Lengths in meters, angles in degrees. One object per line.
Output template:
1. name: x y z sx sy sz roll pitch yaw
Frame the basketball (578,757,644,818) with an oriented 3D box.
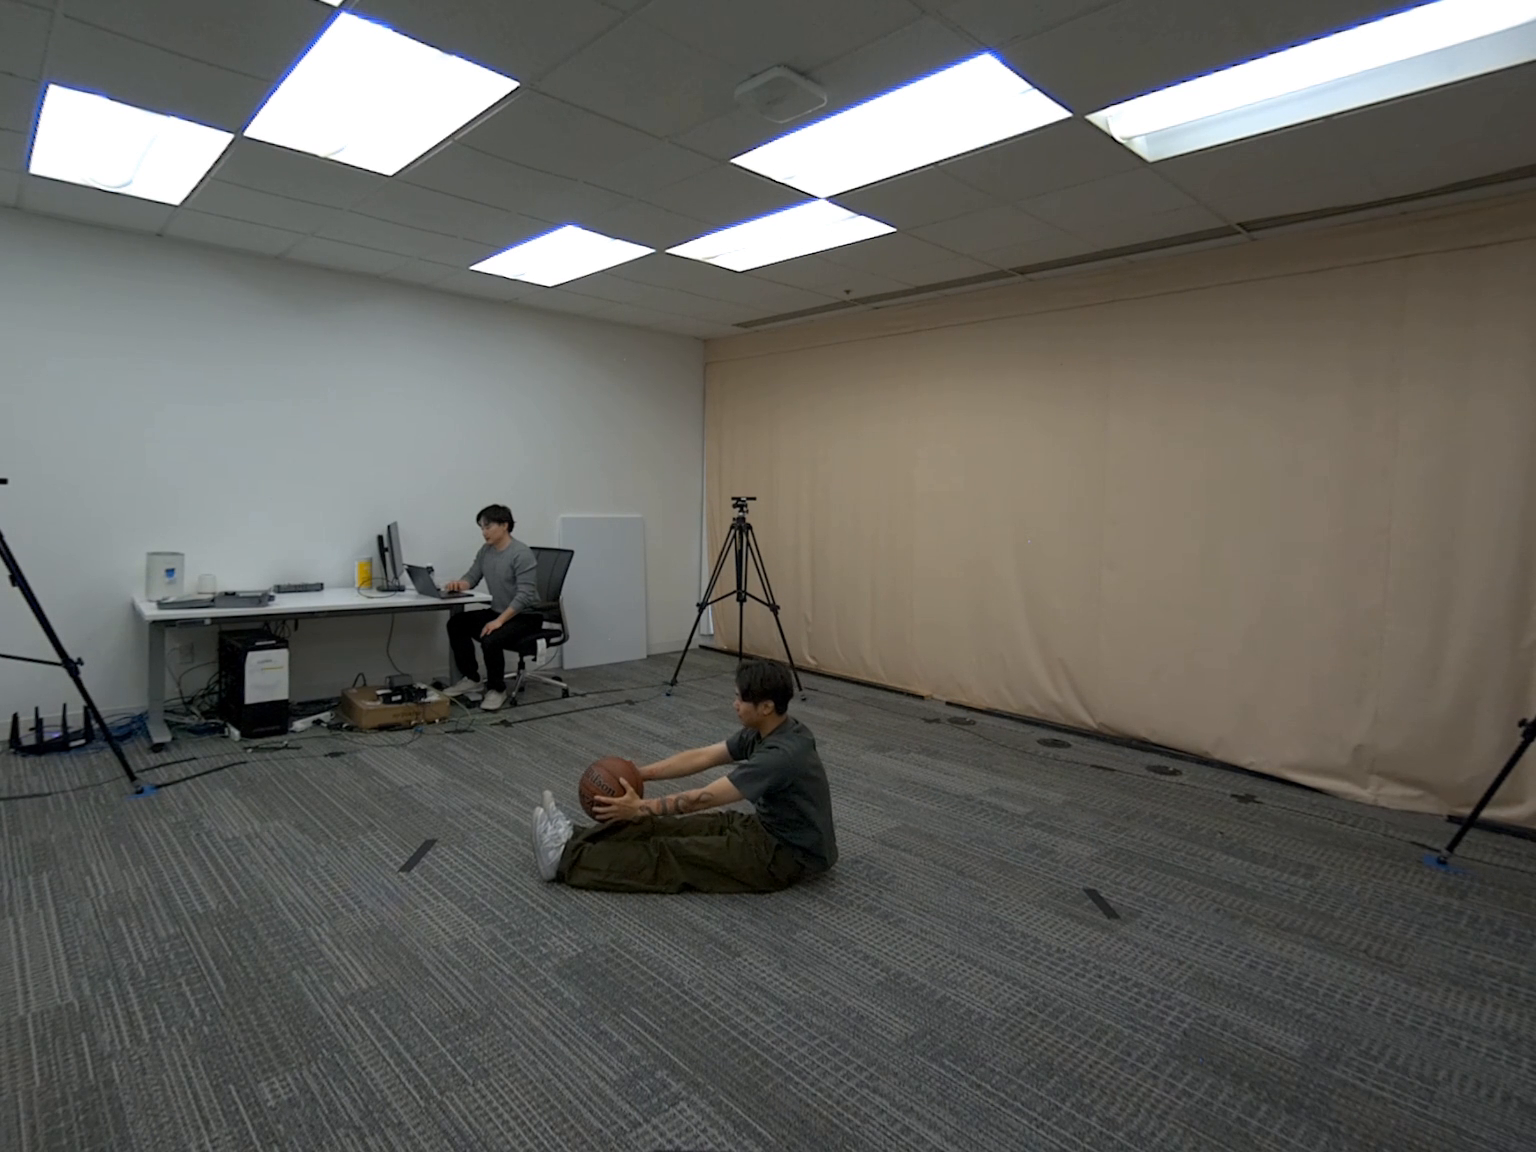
1. basketball: -0.575 0.782 3.083 0.236 0.235 0.237 1 4 -1
